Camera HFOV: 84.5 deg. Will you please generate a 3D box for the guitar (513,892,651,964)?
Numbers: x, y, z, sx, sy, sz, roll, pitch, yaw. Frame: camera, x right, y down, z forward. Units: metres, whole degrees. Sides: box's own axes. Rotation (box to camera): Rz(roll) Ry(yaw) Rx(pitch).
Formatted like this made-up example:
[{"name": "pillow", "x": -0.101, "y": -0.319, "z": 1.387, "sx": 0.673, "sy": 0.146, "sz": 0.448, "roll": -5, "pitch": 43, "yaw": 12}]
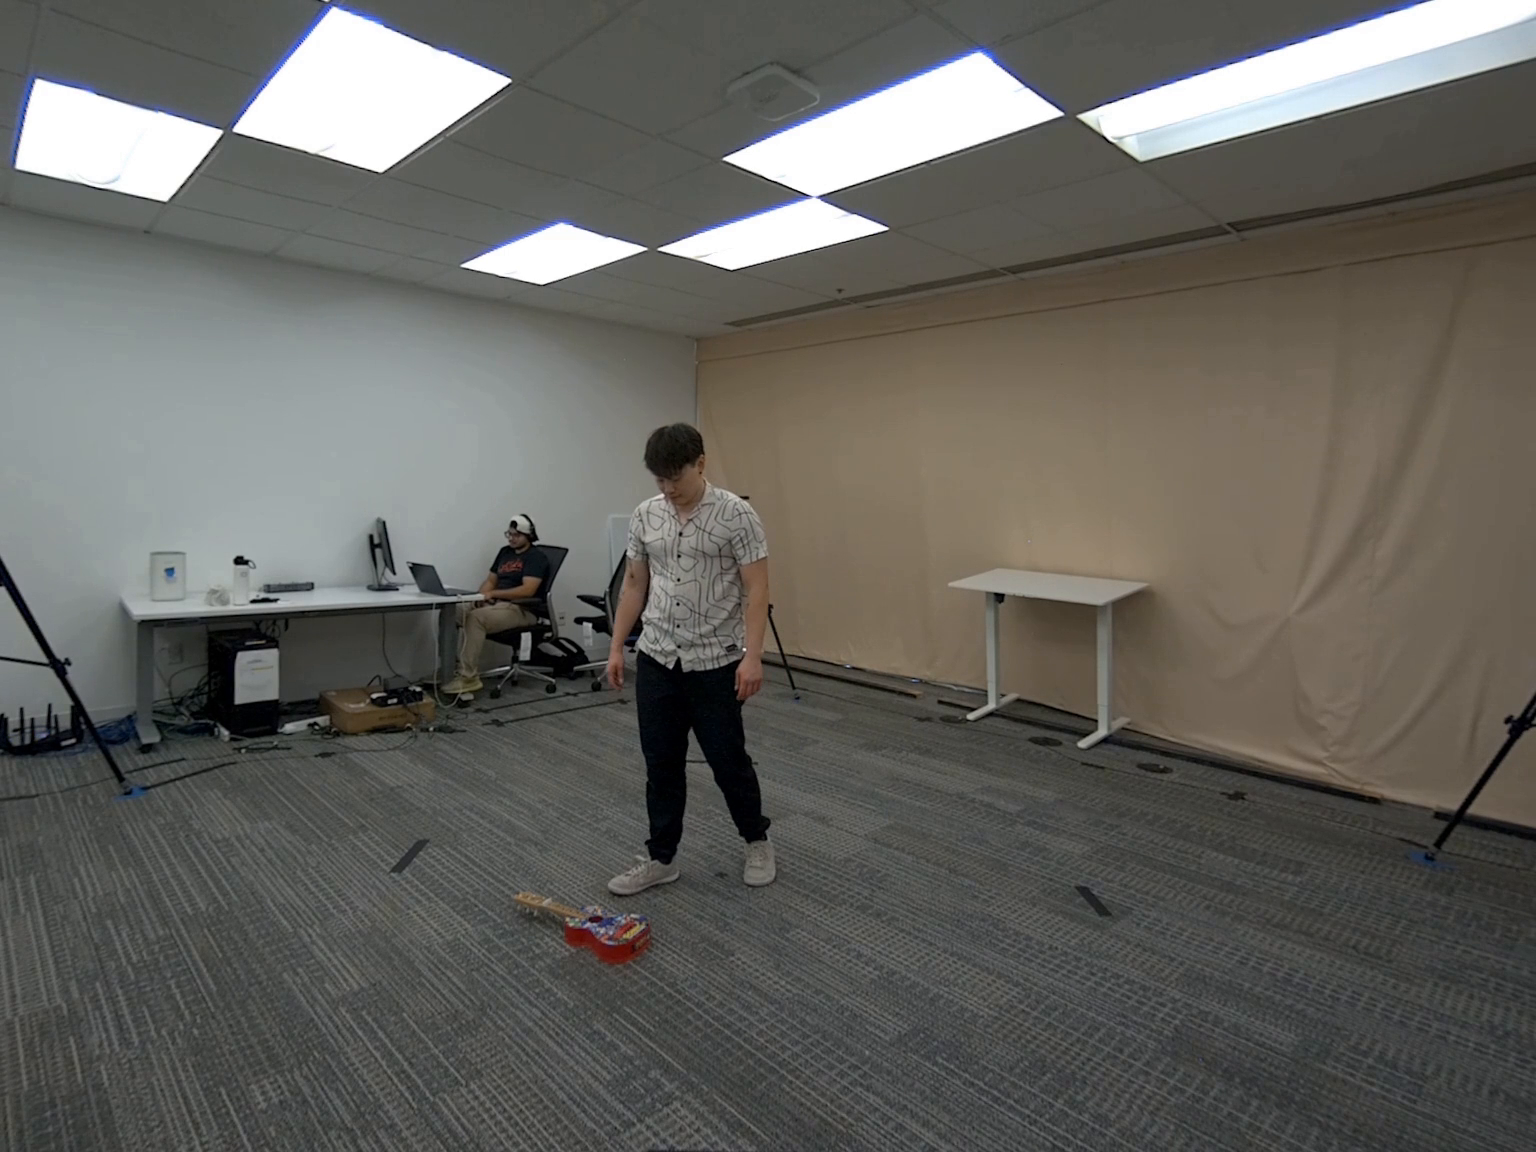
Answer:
[{"name": "guitar", "x": -0.603, "y": 1.098, "z": 2.696, "sx": 0.510, "sy": 0.070, "sz": 0.189, "roll": 5, "pitch": 7, "yaw": 35}]
